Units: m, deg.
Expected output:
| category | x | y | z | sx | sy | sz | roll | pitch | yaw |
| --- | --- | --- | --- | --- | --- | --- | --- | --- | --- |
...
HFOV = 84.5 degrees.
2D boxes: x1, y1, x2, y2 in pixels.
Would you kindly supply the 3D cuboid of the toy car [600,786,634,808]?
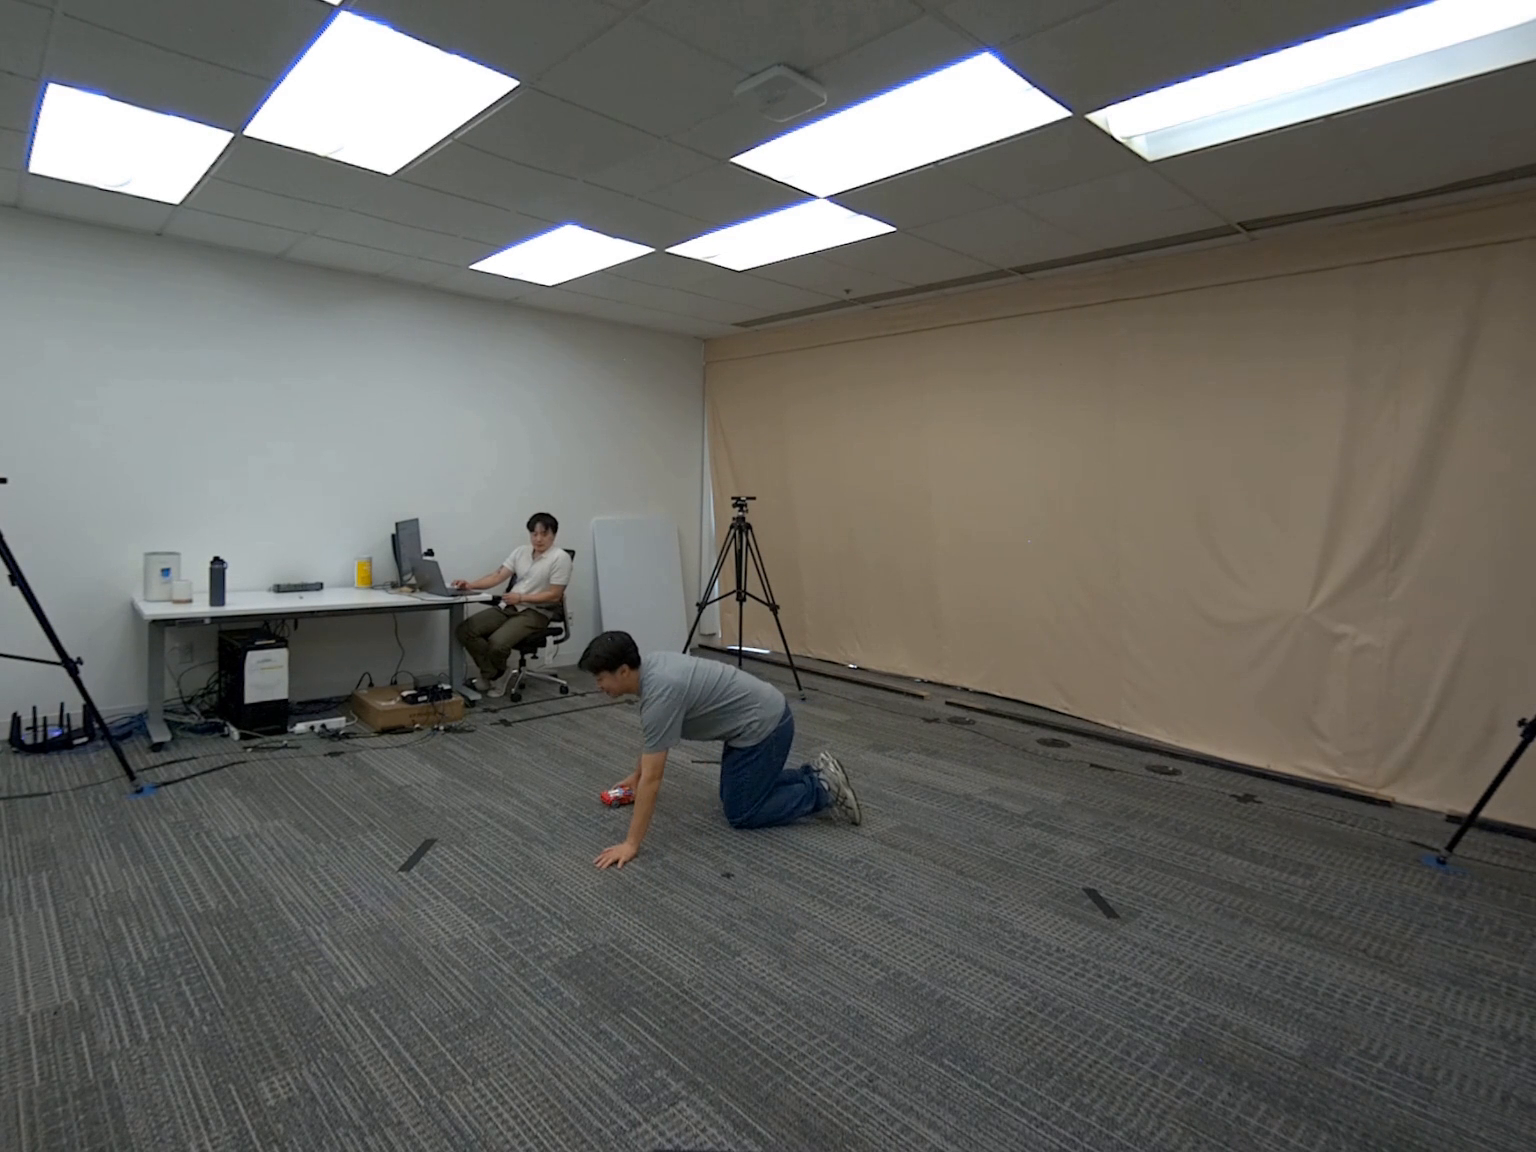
| category | x | y | z | sx | sy | sz | roll | pitch | yaw |
| --- | --- | --- | --- | --- | --- | --- | --- | --- | --- |
| toy car | -0.639 | 0.997 | 3.851 | 0.250 | 0.083 | 0.133 | -13 | 10 | -33 |
